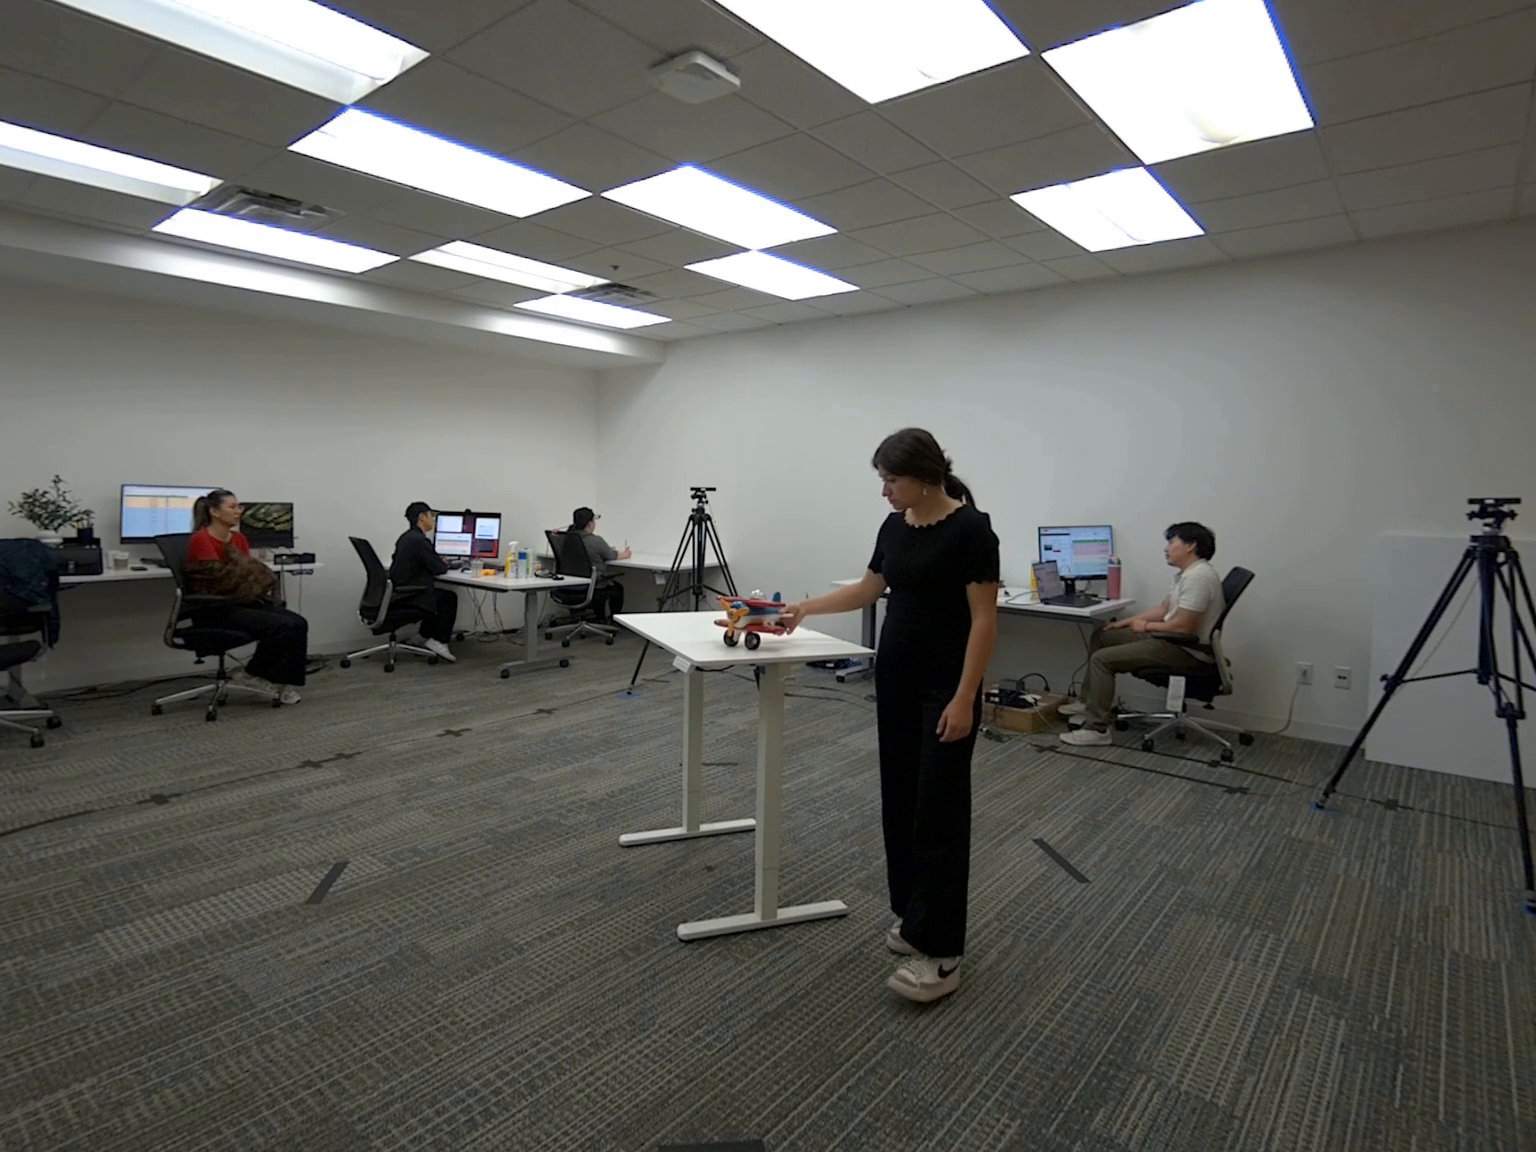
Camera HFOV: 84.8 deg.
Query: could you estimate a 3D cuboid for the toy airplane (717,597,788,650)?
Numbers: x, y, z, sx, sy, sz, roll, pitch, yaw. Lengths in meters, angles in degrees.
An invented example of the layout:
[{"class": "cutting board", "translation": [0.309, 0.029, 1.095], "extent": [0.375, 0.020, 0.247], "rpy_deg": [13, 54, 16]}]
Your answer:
[{"class": "toy airplane", "translation": [-0.066, 0.130, 2.746], "extent": [0.254, 0.154, 0.259], "rpy_deg": [-3, 13, 11]}]
